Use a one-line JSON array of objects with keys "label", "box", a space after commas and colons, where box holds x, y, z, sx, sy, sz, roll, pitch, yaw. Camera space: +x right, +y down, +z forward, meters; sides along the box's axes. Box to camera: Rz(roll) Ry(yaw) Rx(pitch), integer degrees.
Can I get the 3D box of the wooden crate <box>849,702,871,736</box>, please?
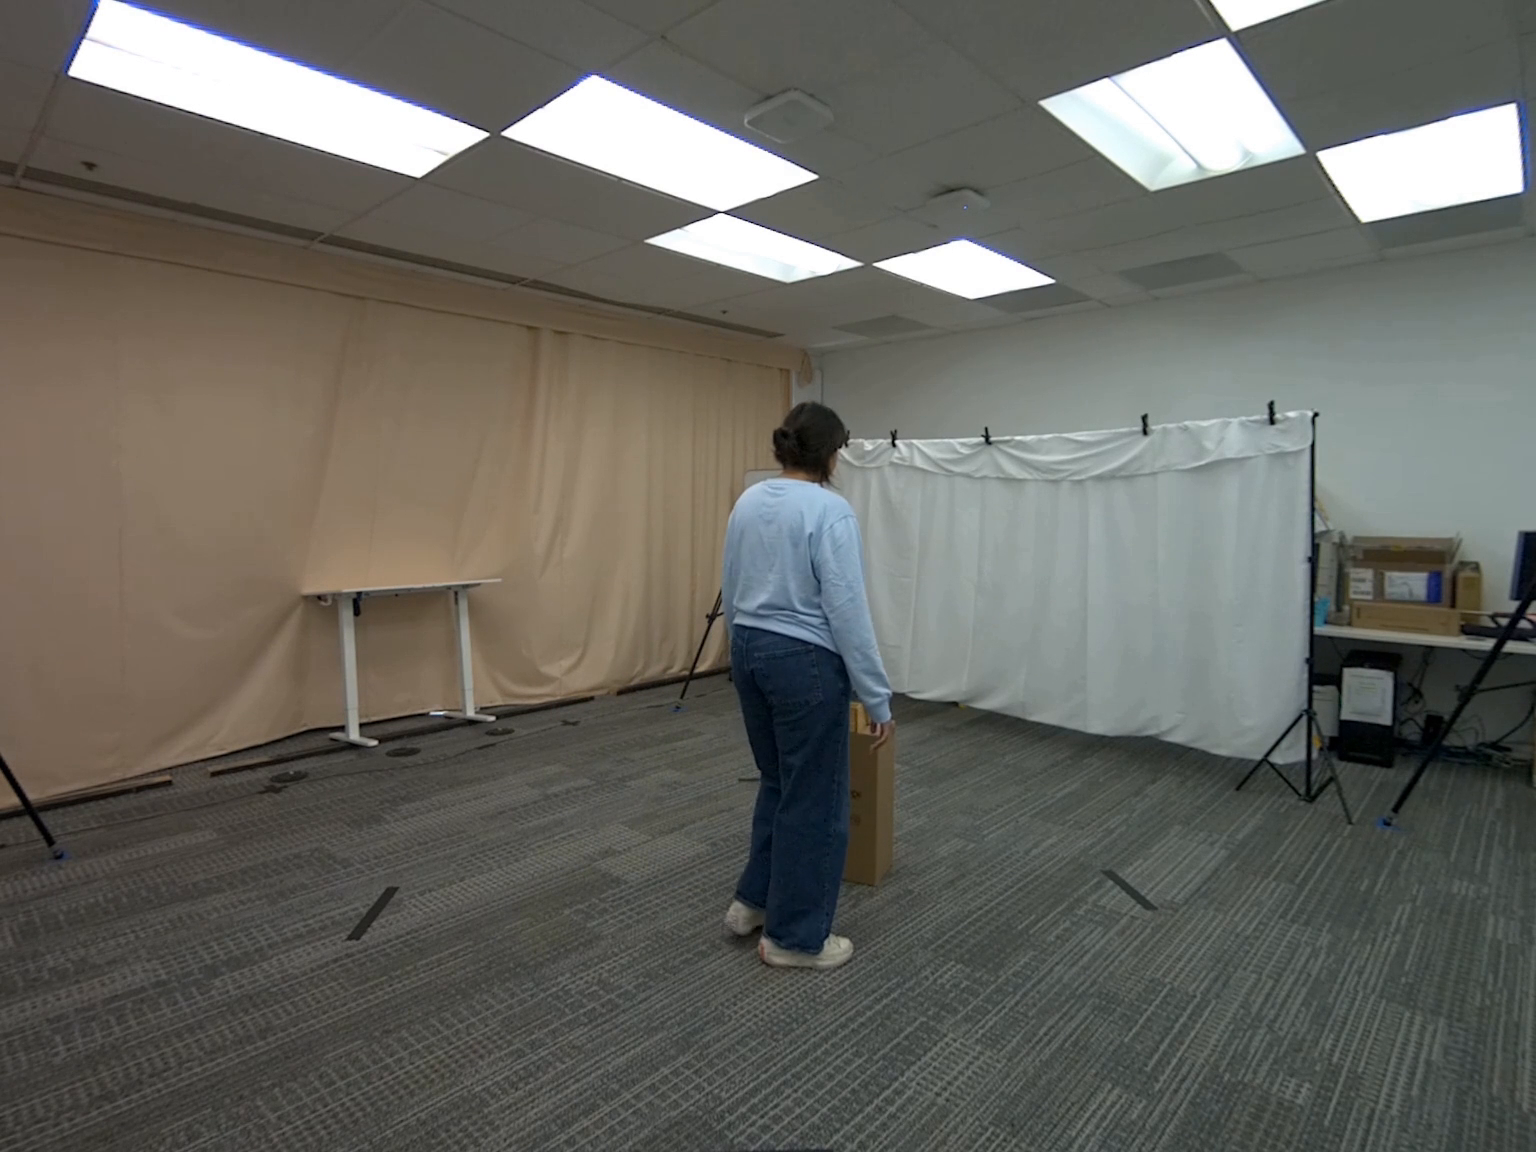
[{"label": "wooden crate", "box": [0.231, 0.423, 3.213, 0.333, 0.272, 0.295, 2, 6, 25]}]
